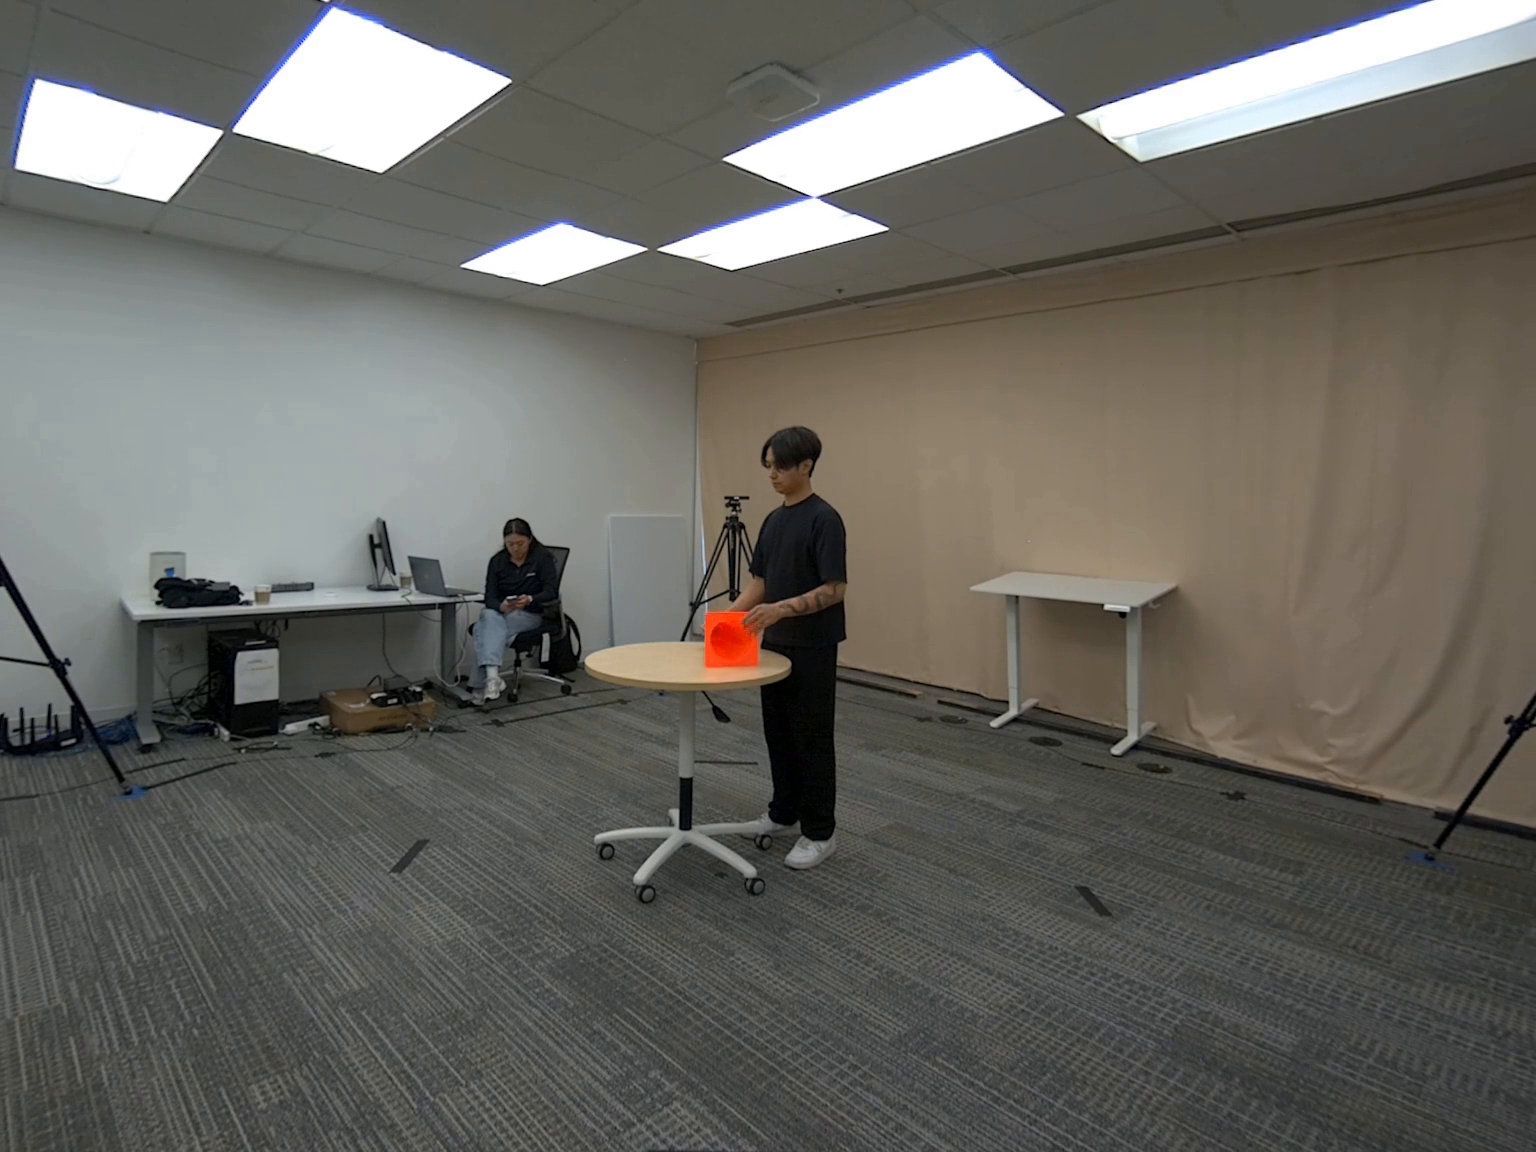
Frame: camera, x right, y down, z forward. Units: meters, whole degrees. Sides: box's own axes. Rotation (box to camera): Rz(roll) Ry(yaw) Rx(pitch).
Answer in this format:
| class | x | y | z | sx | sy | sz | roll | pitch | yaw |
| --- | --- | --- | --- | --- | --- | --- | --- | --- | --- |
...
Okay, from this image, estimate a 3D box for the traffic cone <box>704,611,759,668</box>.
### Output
| class | x | y | z | sx | sy | sz | roll | pitch | yaw |
| --- | --- | --- | --- | --- | --- | --- | --- | --- | --- |
| traffic cone | -0.197 | 0.235 | 3.216 | 0.203 | 0.204 | 0.387 | 1 | -1 | -13 |
